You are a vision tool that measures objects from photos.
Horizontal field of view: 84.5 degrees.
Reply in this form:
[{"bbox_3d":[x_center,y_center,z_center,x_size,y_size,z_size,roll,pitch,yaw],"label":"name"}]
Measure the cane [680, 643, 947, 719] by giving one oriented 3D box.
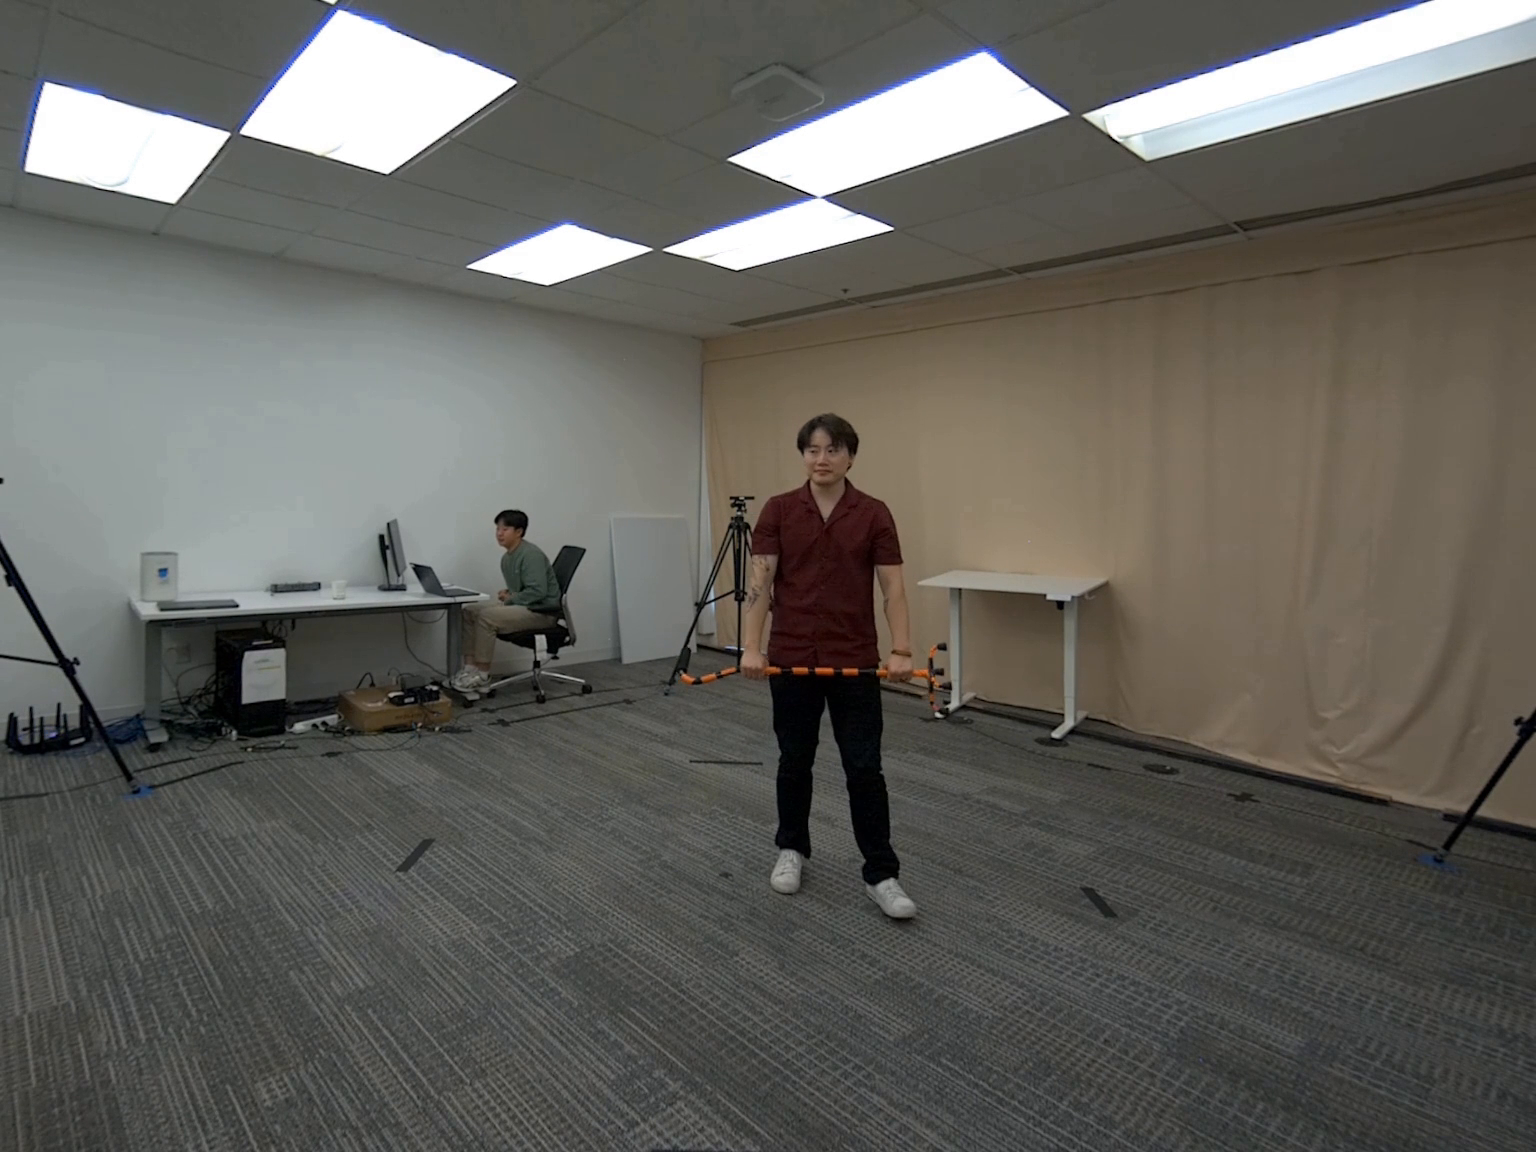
[{"bbox_3d":[0.138,0.347,2.825,0.913,0.148,0.210,0,41,7],"label":"cane"}]
